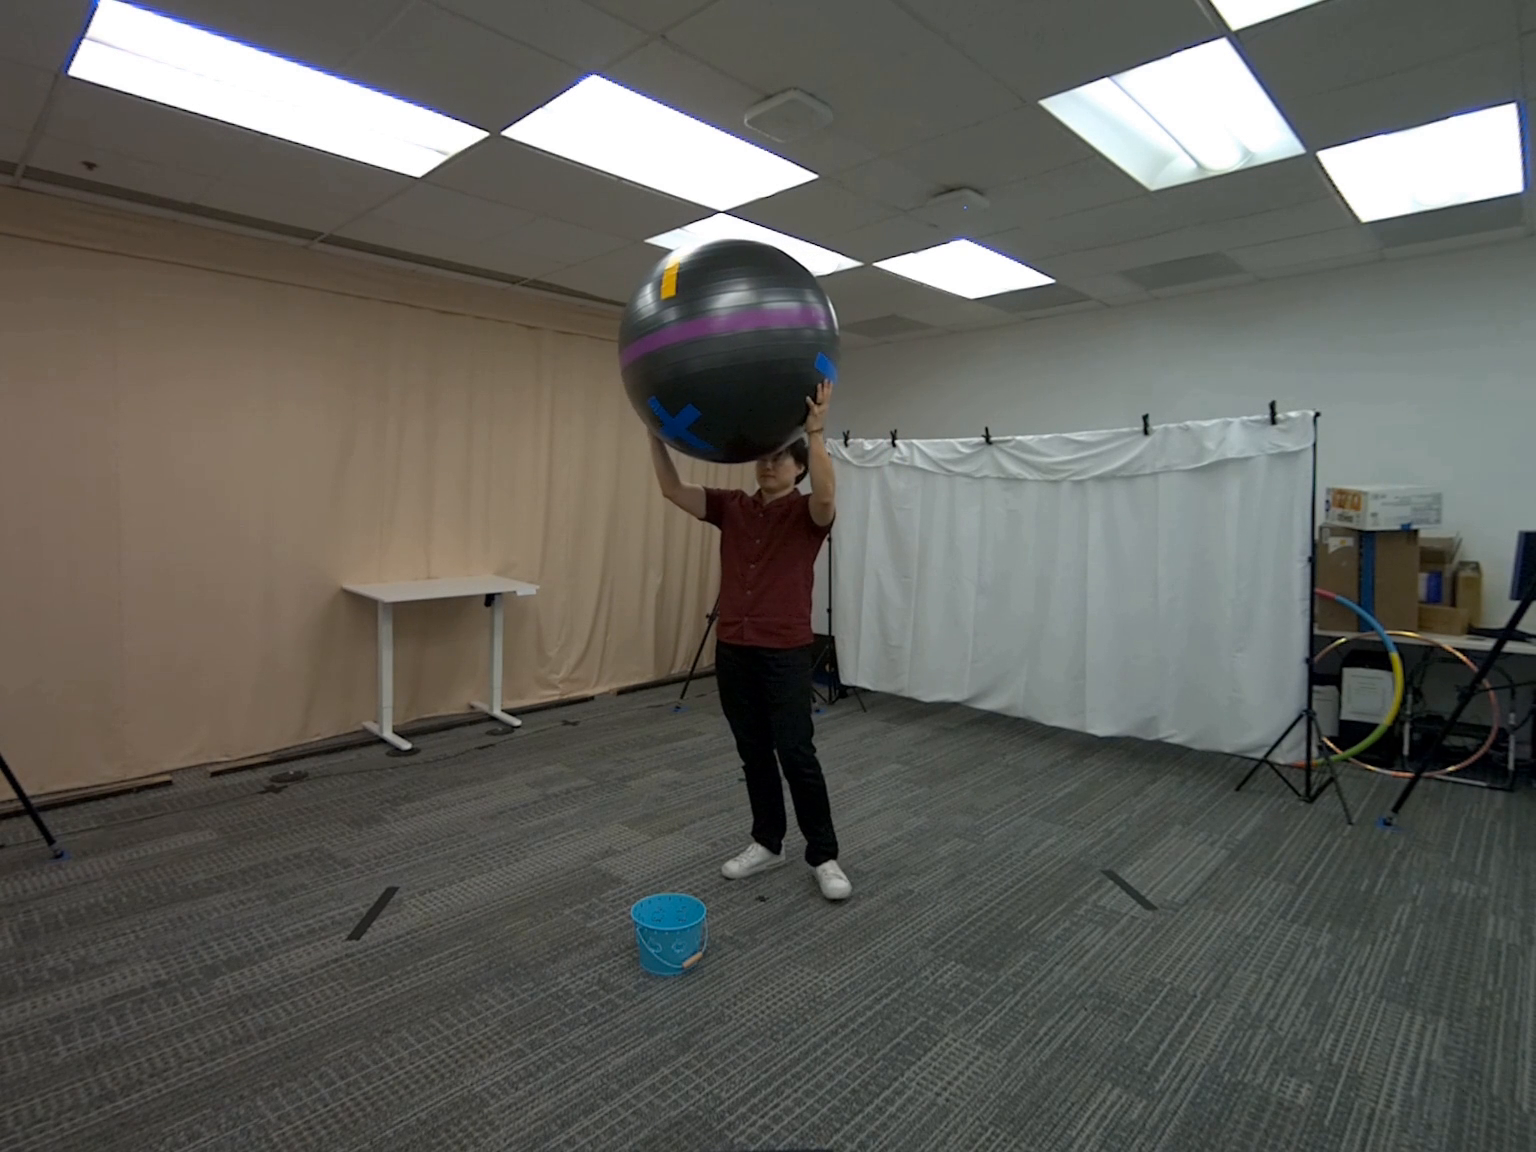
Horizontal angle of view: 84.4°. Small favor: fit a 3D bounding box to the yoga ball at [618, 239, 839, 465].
[{"bbox_3d":[-0.127,-0.762,2.884,0.757,0.756,0.760,0,4,-2],"label":"yoga ball"}]
